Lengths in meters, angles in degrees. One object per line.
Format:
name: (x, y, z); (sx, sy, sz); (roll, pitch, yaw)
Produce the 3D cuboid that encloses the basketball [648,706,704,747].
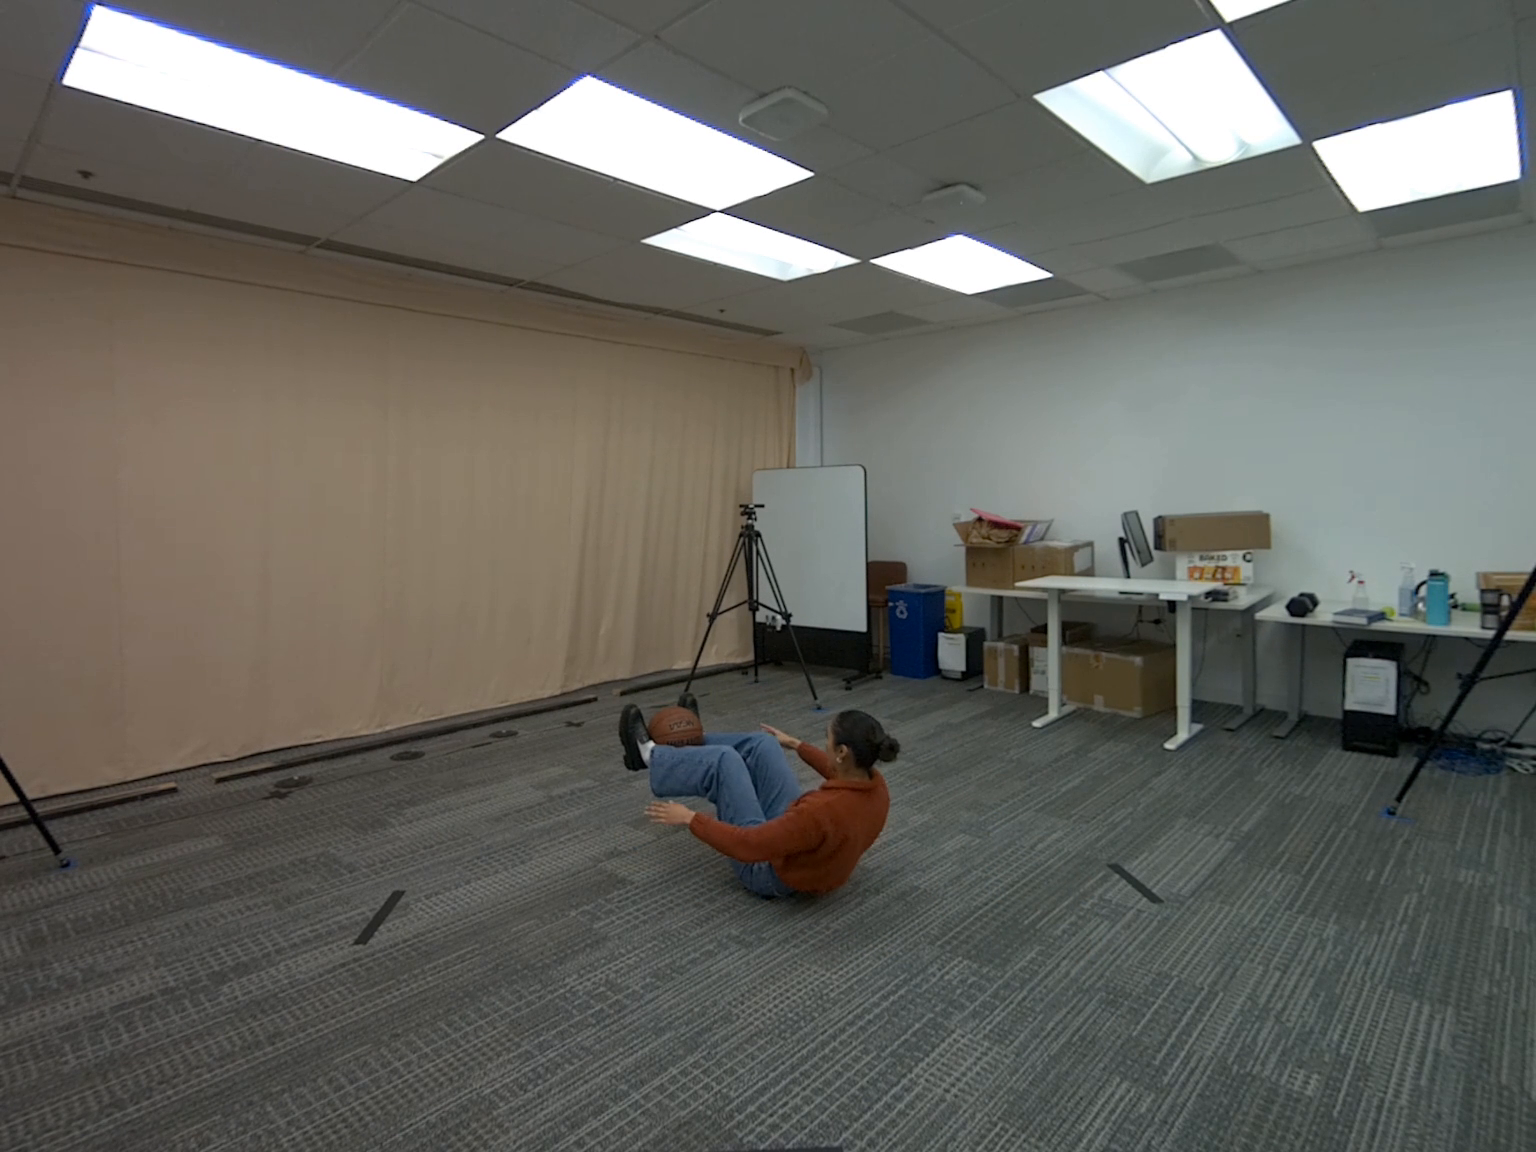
basketball: (-0.389, 0.656, 3.449); (0.235, 0.235, 0.237); (2, 5, -2)
